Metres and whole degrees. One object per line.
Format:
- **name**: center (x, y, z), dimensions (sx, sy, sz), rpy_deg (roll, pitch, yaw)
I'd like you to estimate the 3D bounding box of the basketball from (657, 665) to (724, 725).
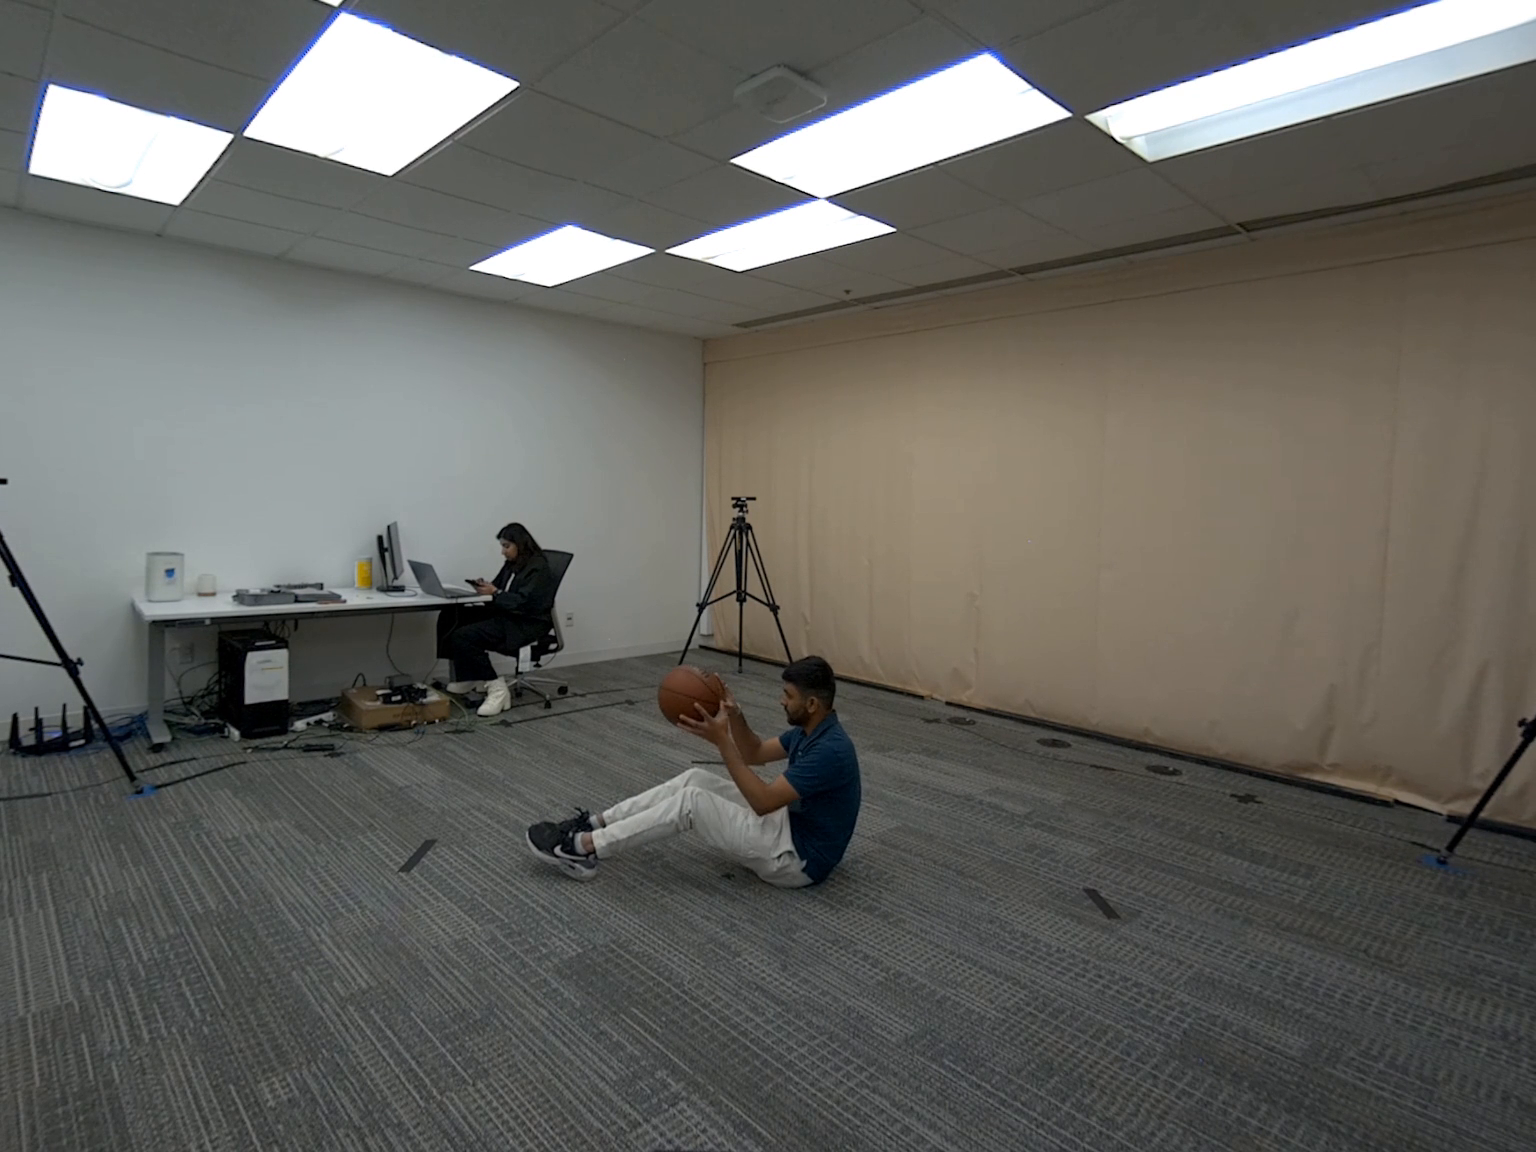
- **basketball**: center (-0.292, 0.457, 3.102), dimensions (0.236, 0.235, 0.237), rpy_deg (1, 4, -1)
